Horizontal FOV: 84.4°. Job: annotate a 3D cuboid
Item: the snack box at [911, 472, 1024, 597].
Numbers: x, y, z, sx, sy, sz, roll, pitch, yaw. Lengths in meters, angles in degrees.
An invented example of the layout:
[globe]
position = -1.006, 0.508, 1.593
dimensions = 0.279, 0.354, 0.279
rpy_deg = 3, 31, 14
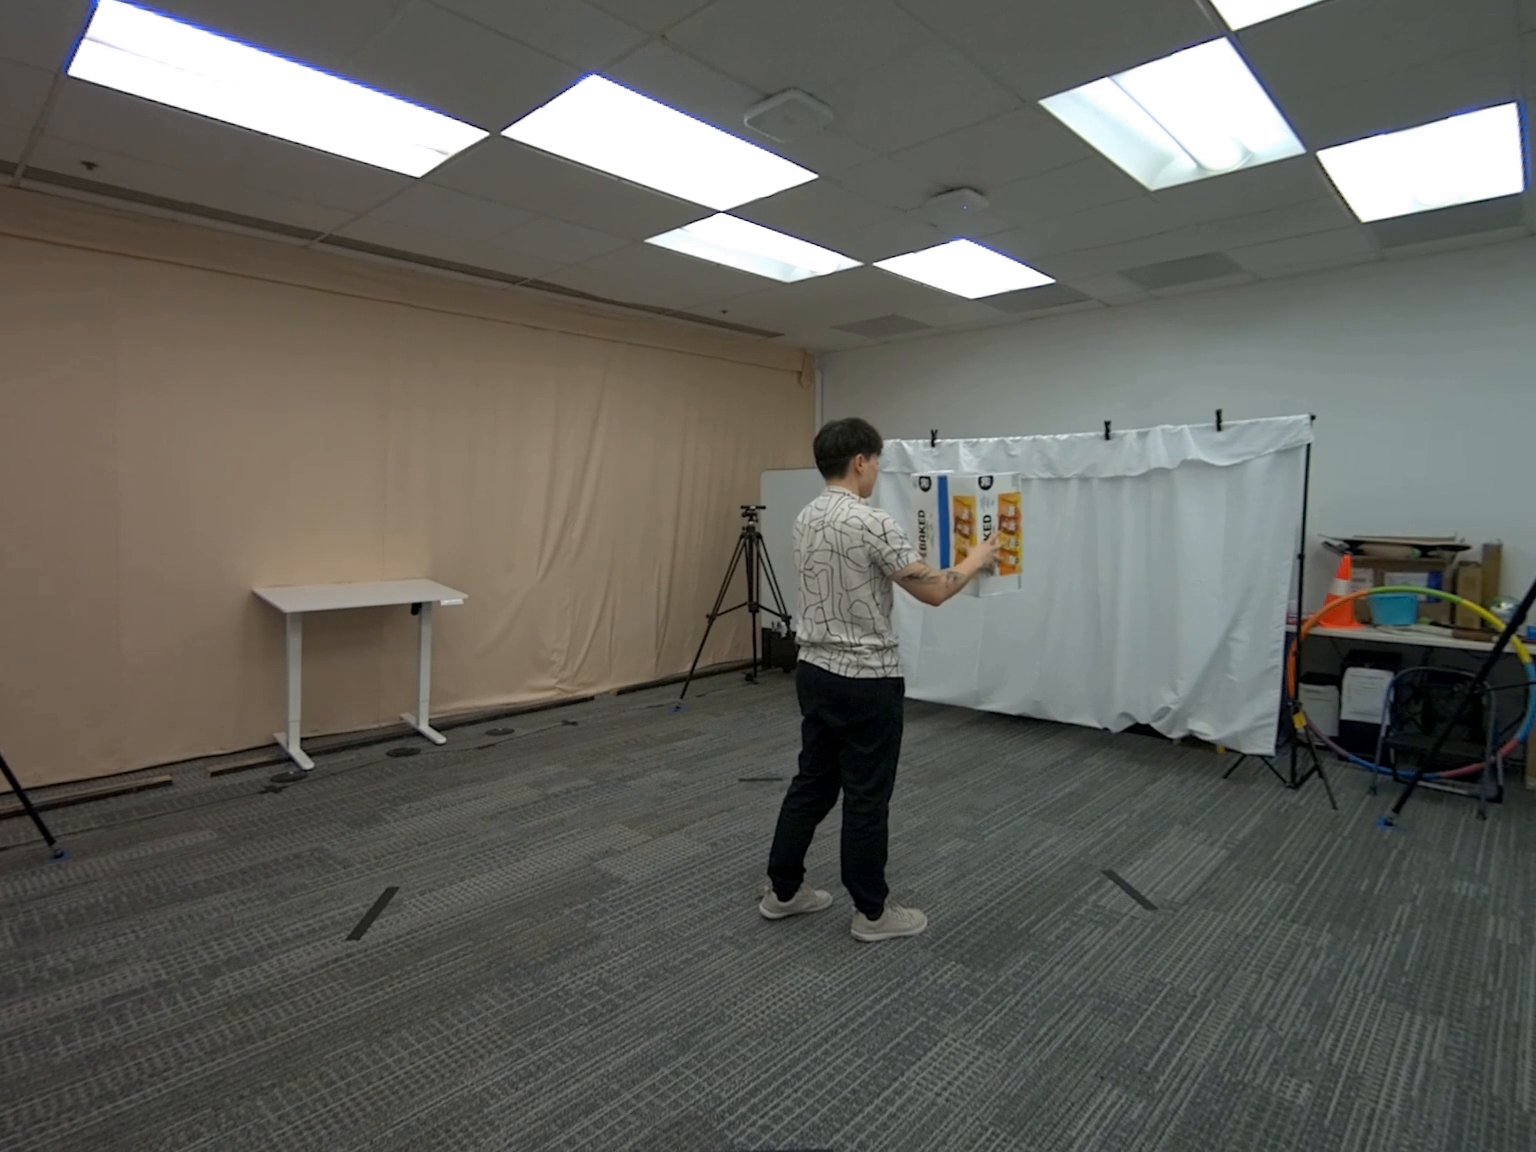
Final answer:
[snack box]
position = 0.701, -0.161, 2.954
dimensions = 0.201, 0.403, 0.350
rpy_deg = -7, 9, -27
